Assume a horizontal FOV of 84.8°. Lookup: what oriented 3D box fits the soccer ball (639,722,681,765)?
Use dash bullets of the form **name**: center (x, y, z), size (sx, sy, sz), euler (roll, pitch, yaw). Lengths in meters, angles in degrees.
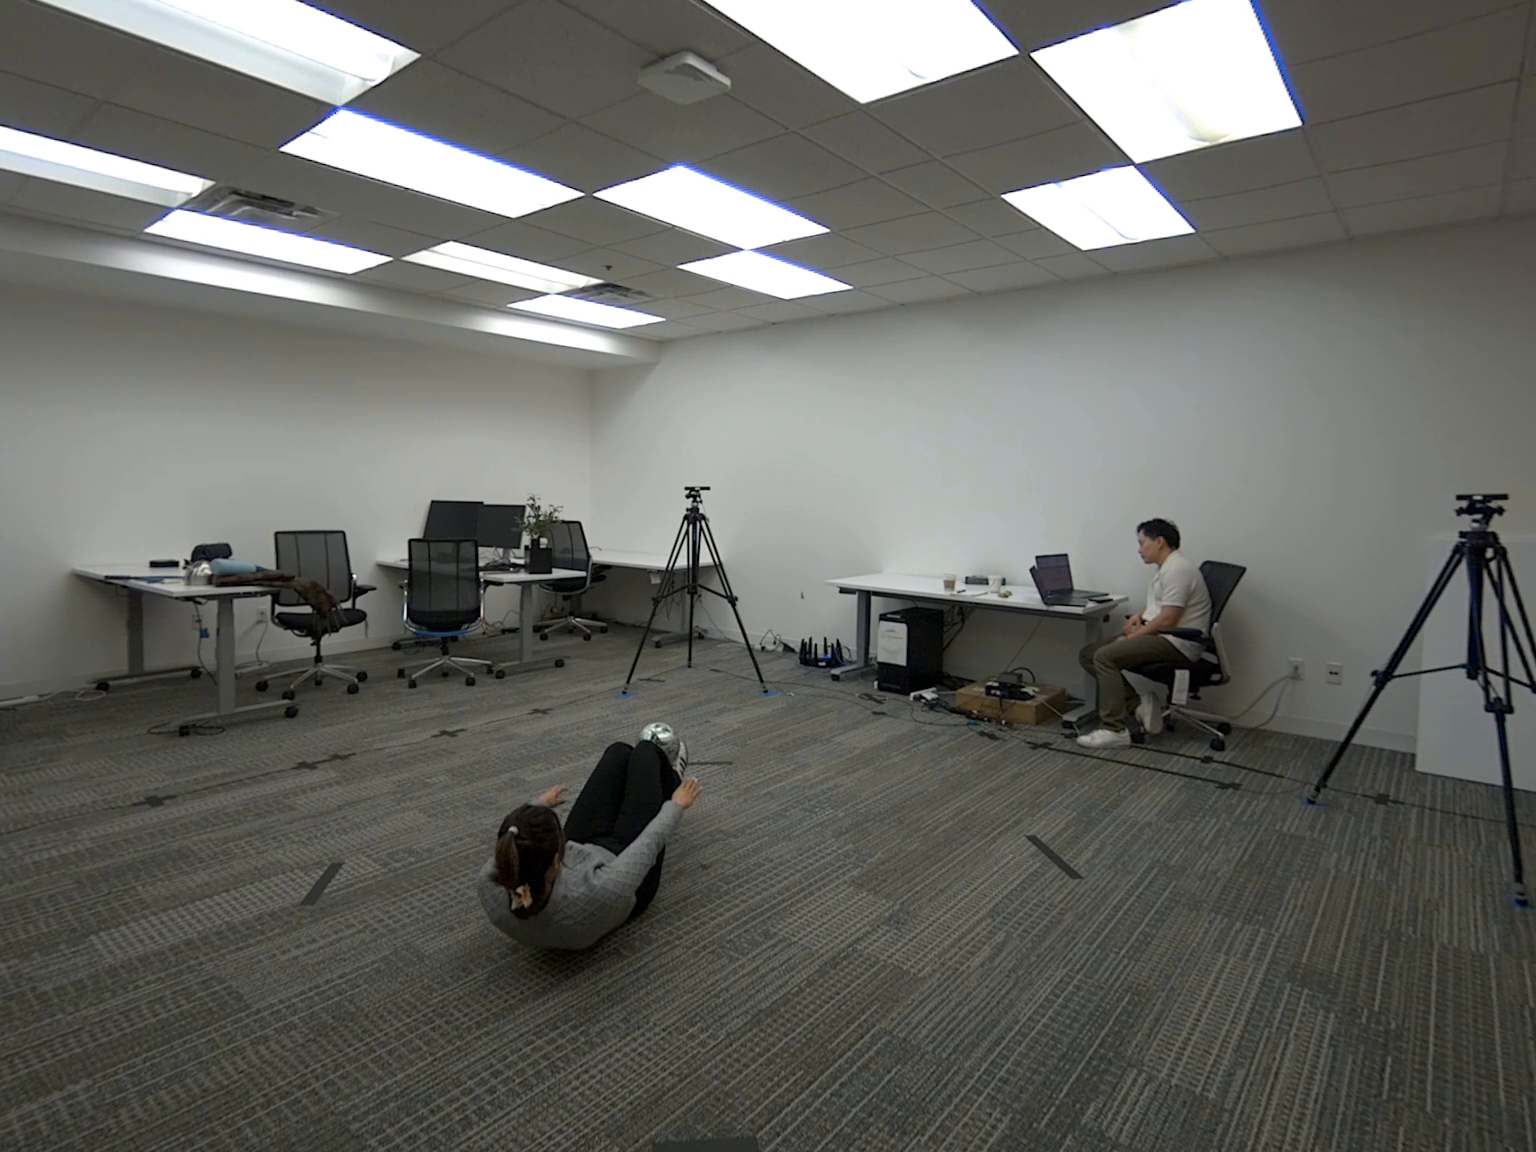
- **soccer ball**: center (-0.463, 0.695, 3.483), size (0.187, 0.187, 0.188), euler (0, 4, -2)
